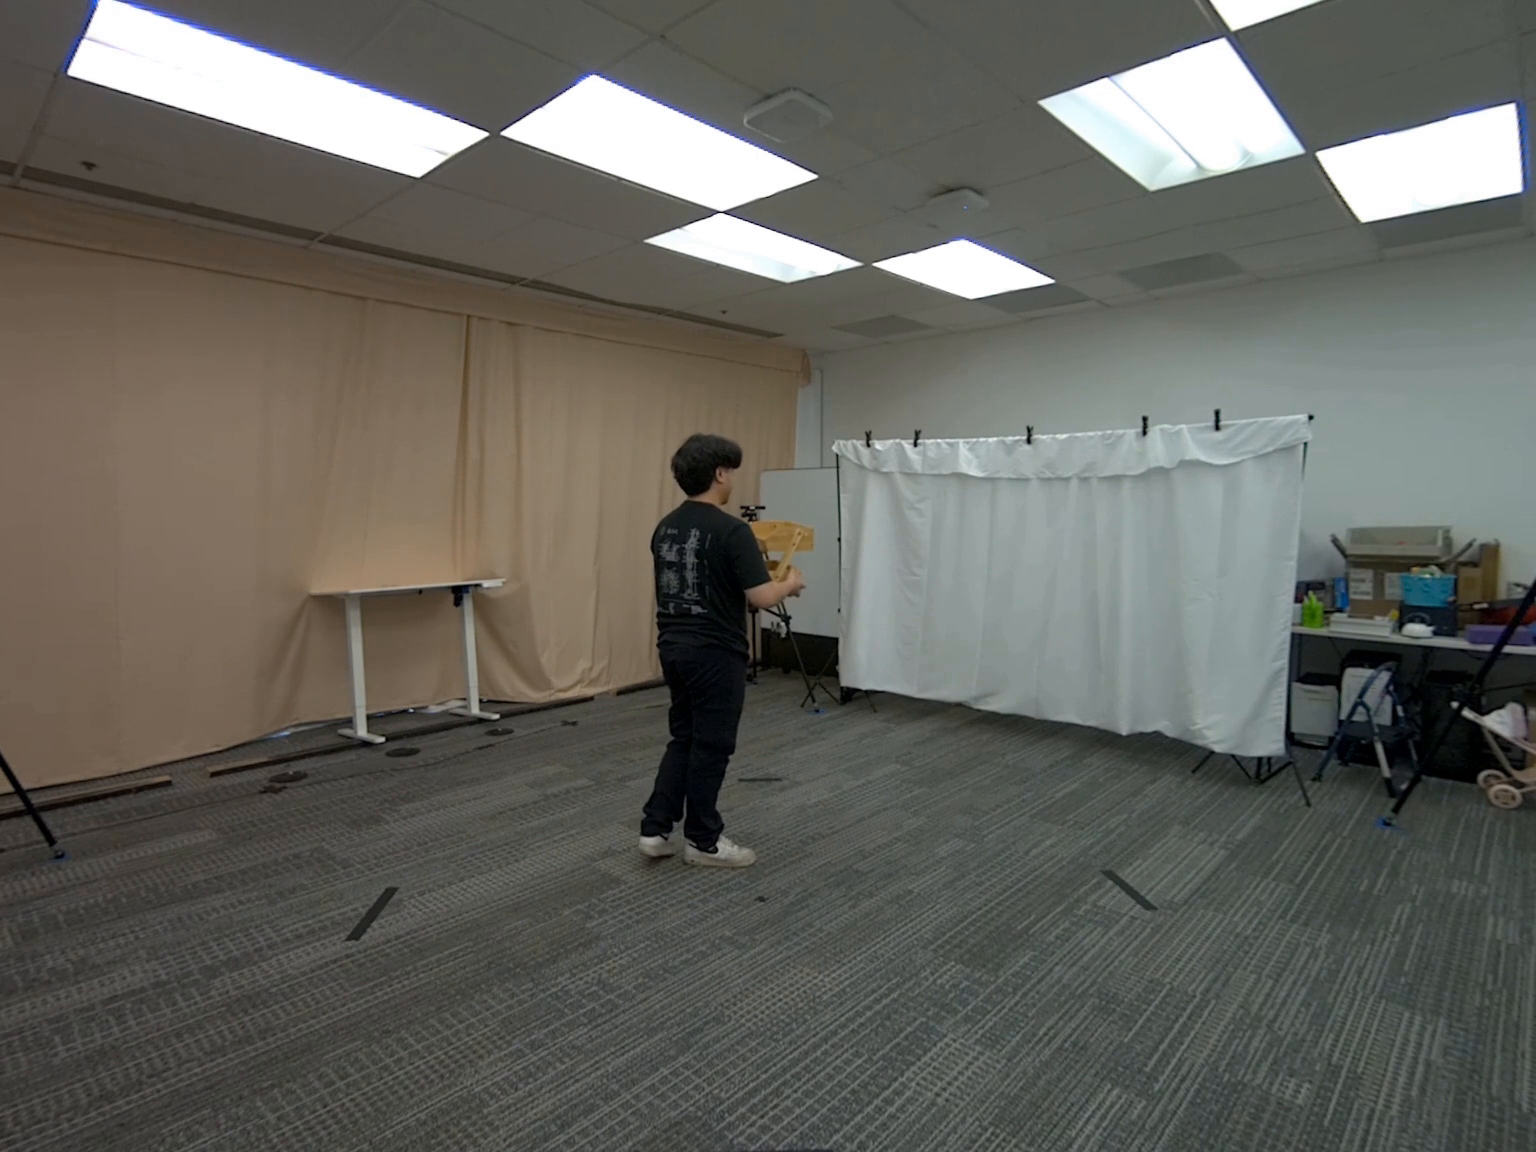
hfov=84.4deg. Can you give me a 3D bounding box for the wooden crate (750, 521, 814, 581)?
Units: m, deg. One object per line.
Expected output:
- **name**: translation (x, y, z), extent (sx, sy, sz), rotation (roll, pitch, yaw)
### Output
- **wooden crate**: translation (-0.012, -0.090, 3.481), extent (0.298, 0.272, 0.331), rotation (-1, 8, -14)
